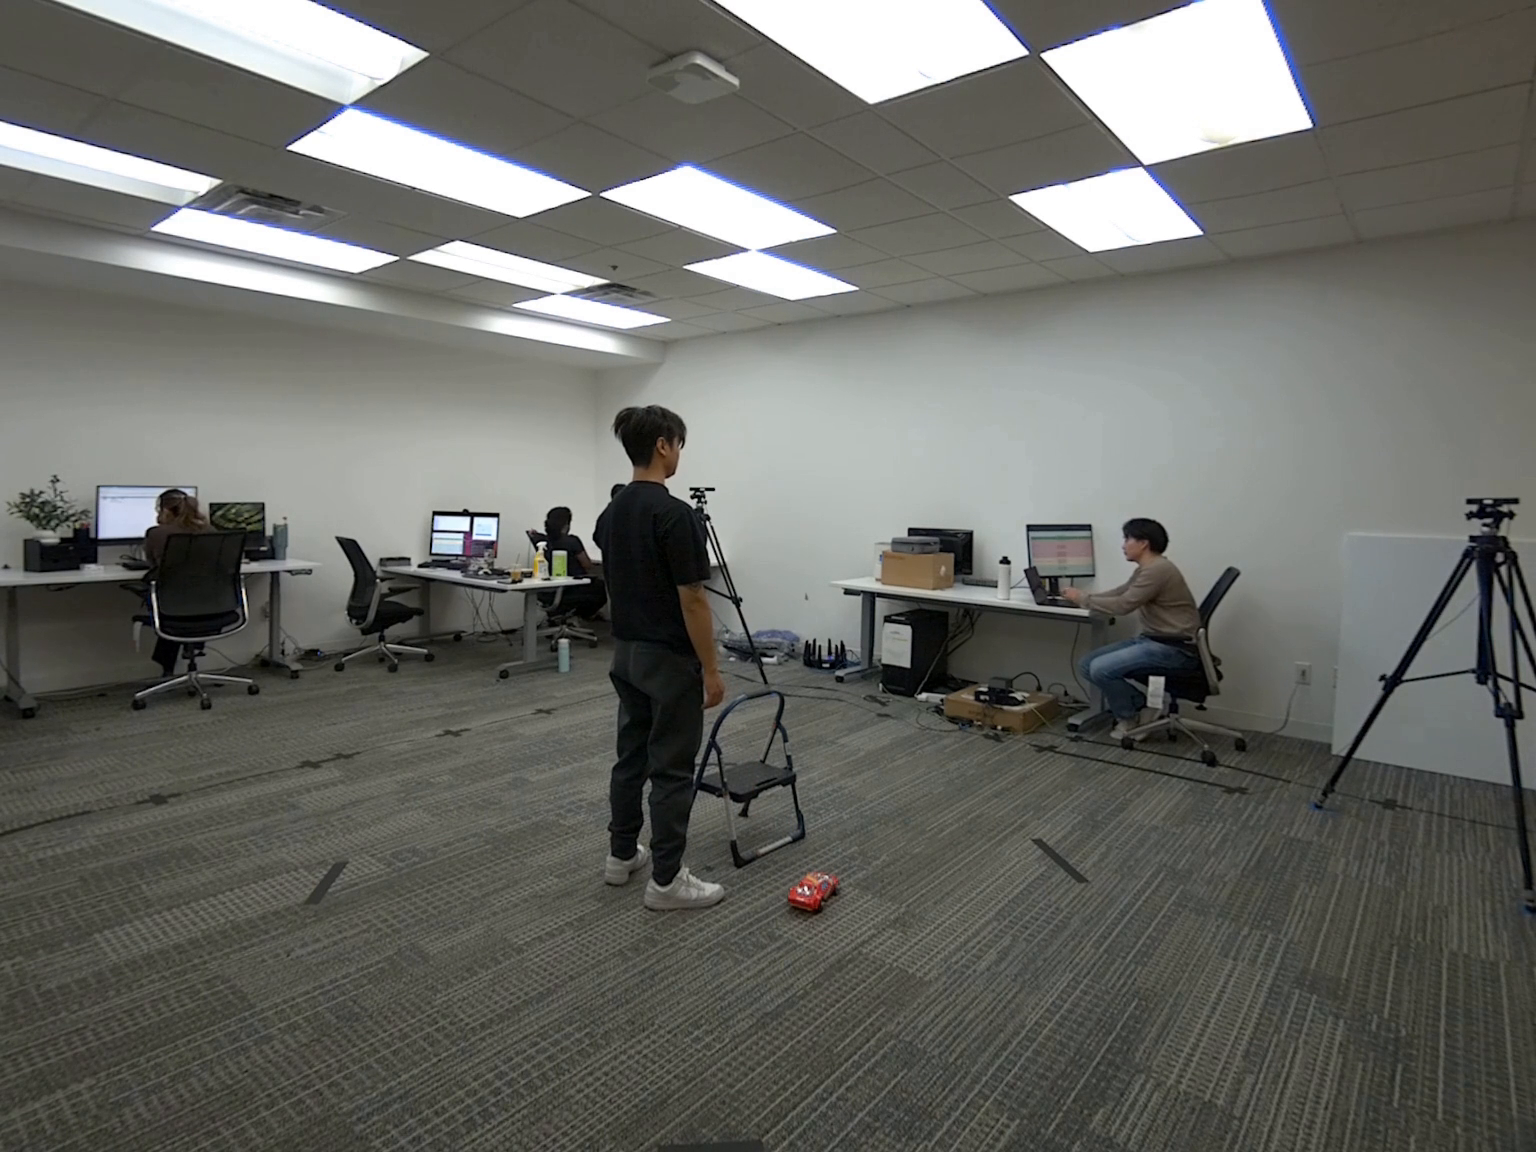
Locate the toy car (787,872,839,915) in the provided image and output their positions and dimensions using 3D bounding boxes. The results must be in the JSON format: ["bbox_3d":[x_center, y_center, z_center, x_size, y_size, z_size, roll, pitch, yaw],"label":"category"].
[{"bbox_3d":[0.145,1.069,2.878,0.134,0.083,0.247,8,-5,24],"label":"toy car"}]
